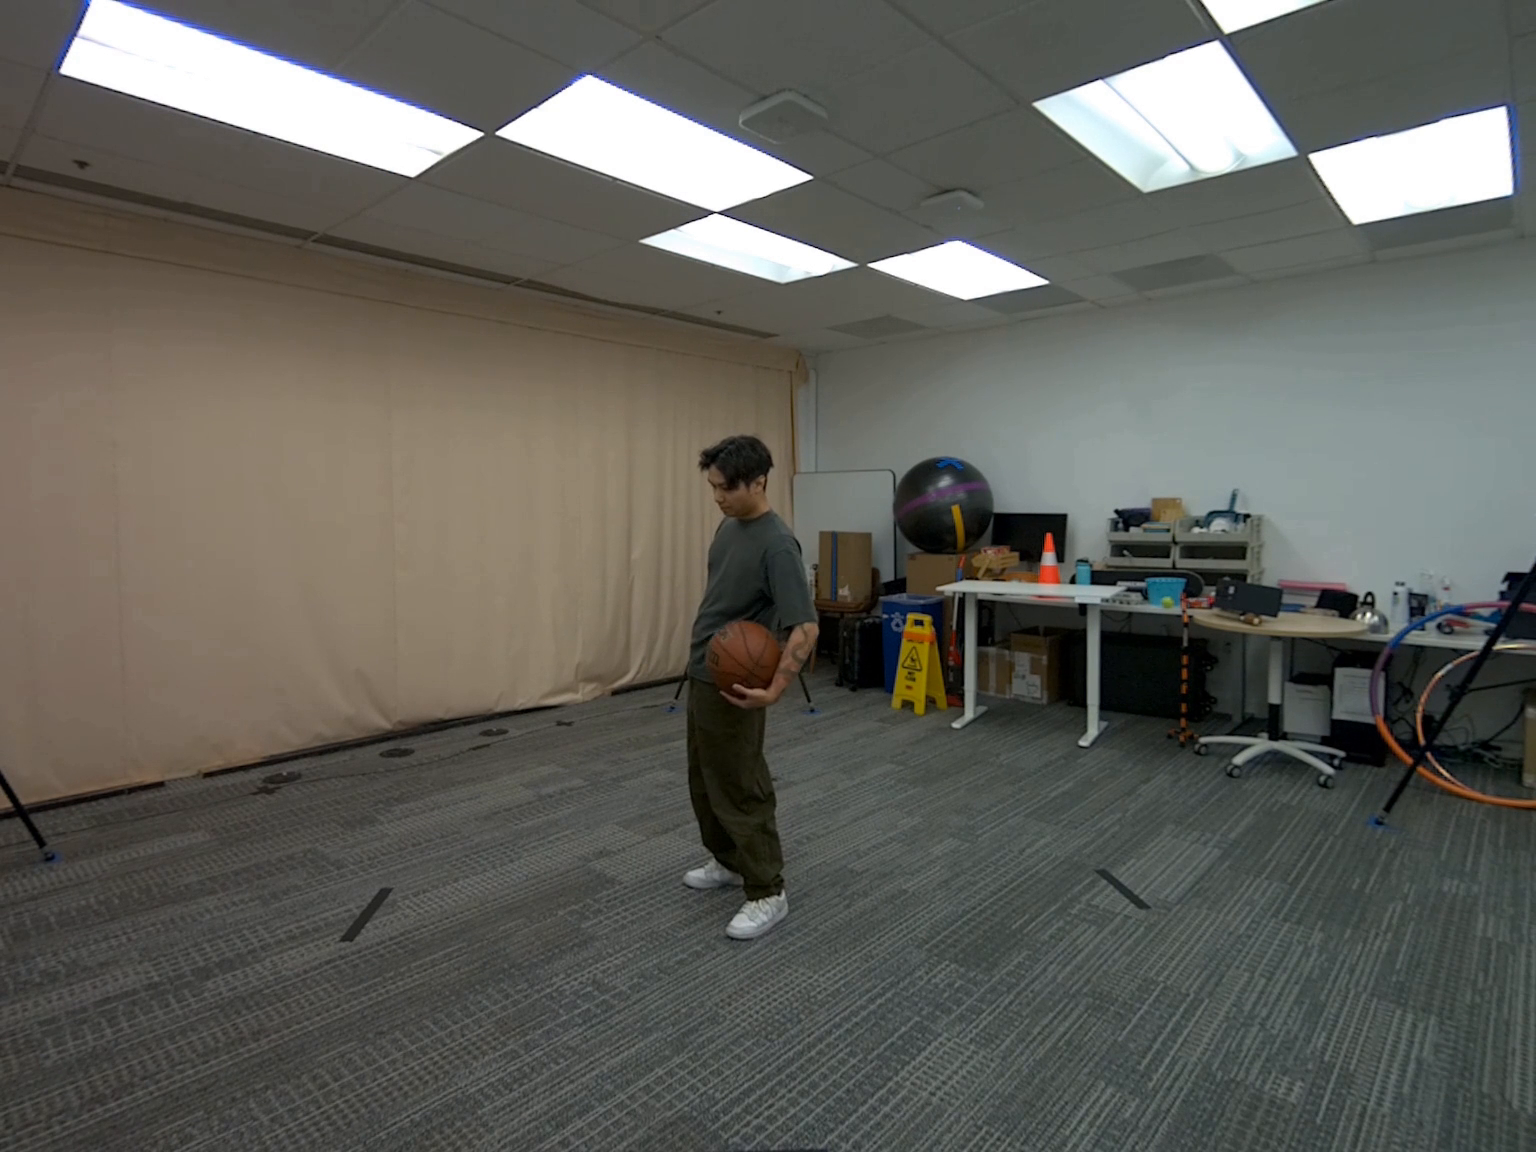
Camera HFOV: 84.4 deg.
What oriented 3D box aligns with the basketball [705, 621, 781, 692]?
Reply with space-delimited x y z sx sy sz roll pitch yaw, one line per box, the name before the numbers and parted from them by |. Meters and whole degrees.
basketball | -0.074 0.255 2.649 0.236 0.235 0.237 0 4 -2
